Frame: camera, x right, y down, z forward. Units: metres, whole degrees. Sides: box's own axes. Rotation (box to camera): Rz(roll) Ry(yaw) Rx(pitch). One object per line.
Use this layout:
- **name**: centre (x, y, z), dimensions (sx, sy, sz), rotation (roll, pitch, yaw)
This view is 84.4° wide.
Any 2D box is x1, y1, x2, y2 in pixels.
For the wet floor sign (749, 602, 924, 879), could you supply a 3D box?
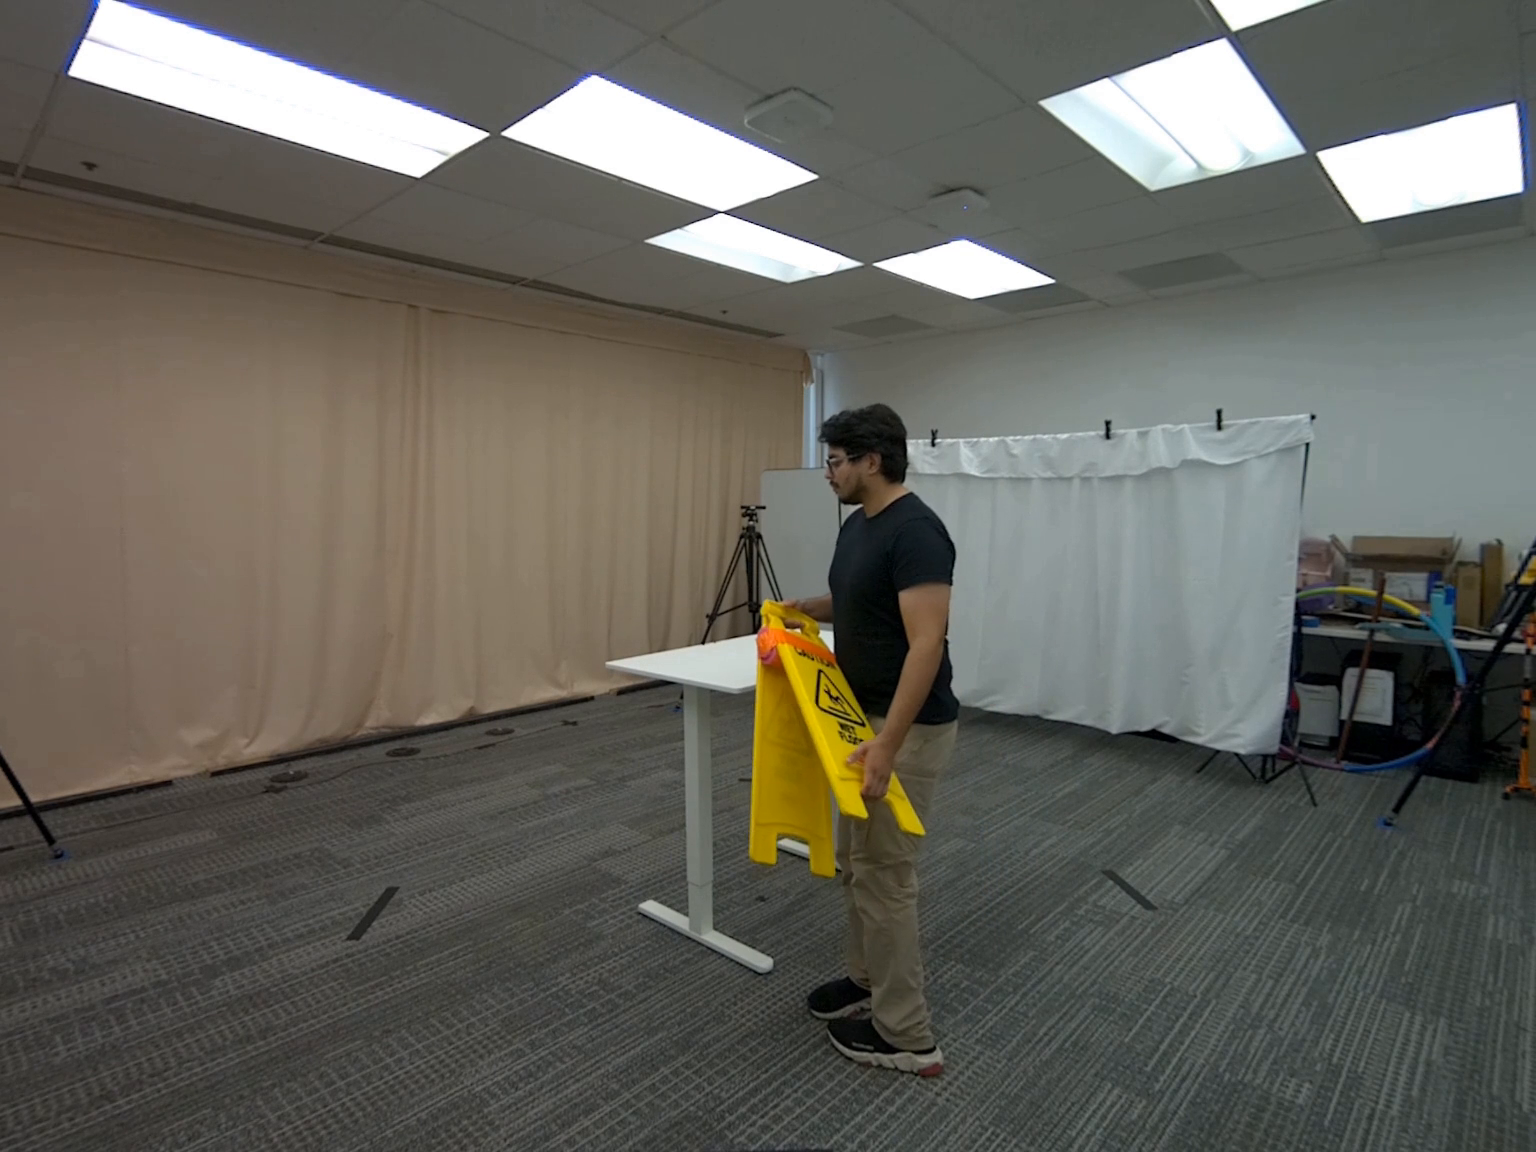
- **wet floor sign**: centre (0.107, 0.352, 2.056), dimensions (0.273, 0.661, 0.293), rotation (26, -52, -35)
